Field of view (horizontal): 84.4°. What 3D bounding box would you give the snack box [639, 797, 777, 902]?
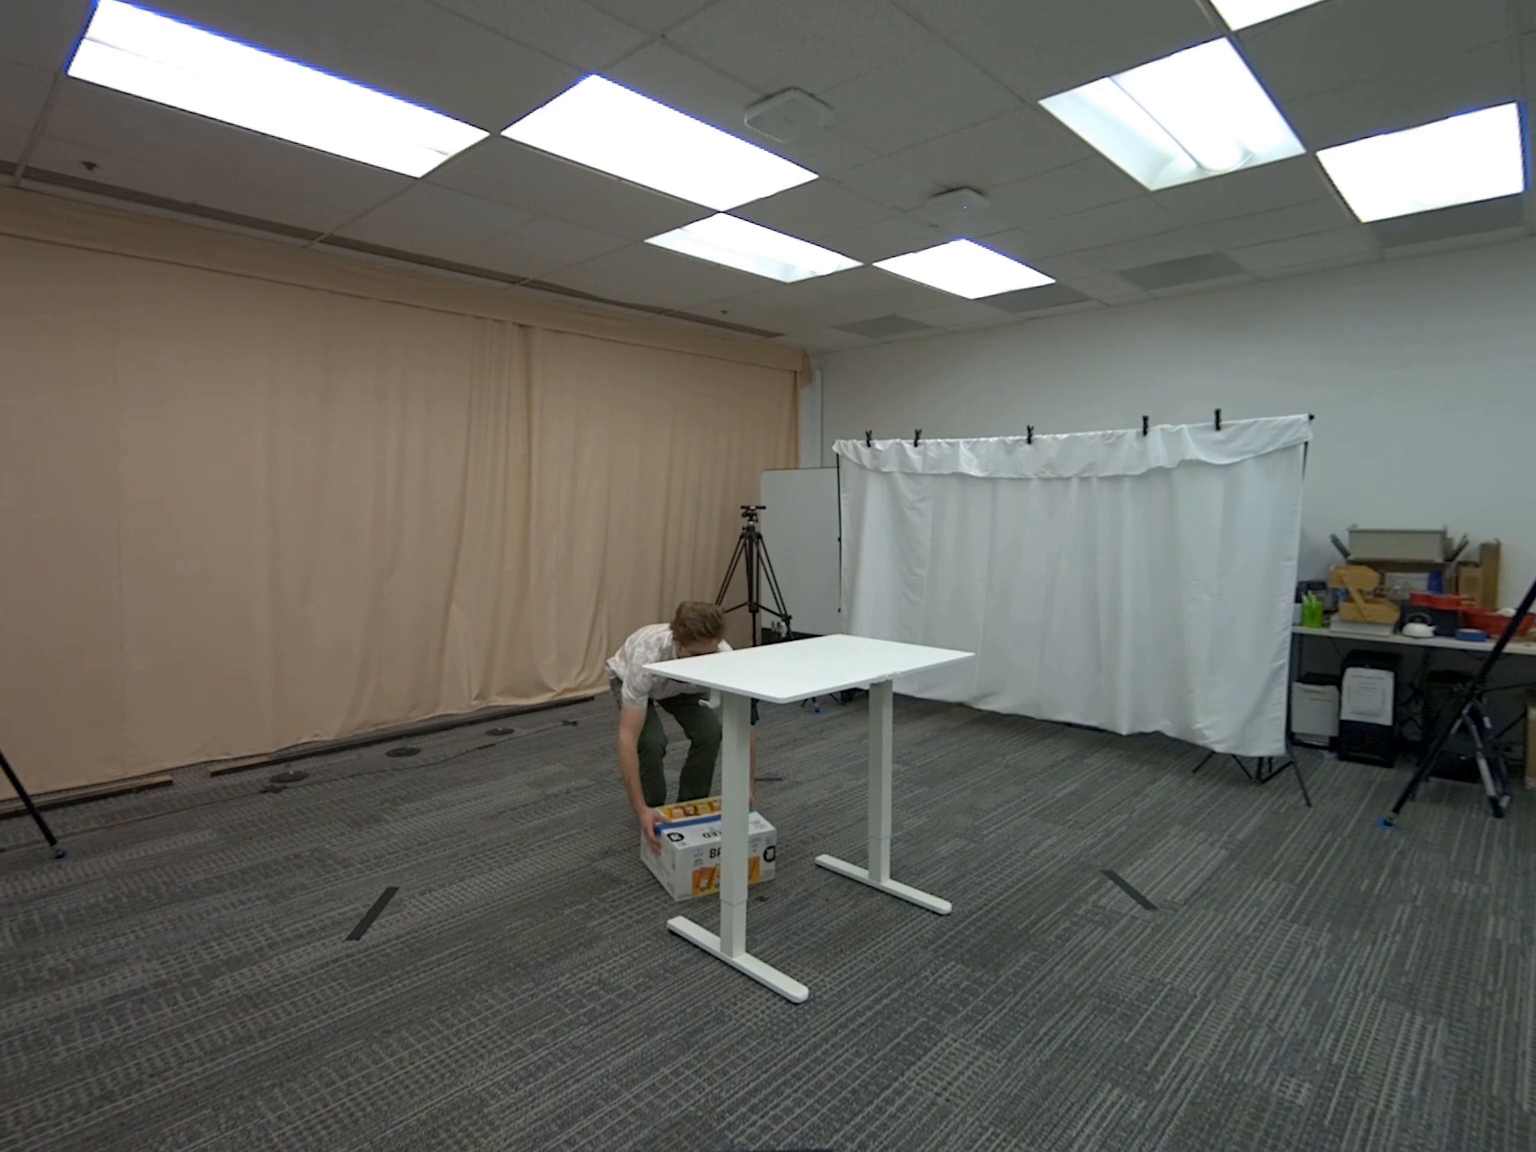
[{"bbox_3d":[-0.228,1.017,3.180,0.395,0.205,0.351,-3,9,-29],"label":"snack box"}]
